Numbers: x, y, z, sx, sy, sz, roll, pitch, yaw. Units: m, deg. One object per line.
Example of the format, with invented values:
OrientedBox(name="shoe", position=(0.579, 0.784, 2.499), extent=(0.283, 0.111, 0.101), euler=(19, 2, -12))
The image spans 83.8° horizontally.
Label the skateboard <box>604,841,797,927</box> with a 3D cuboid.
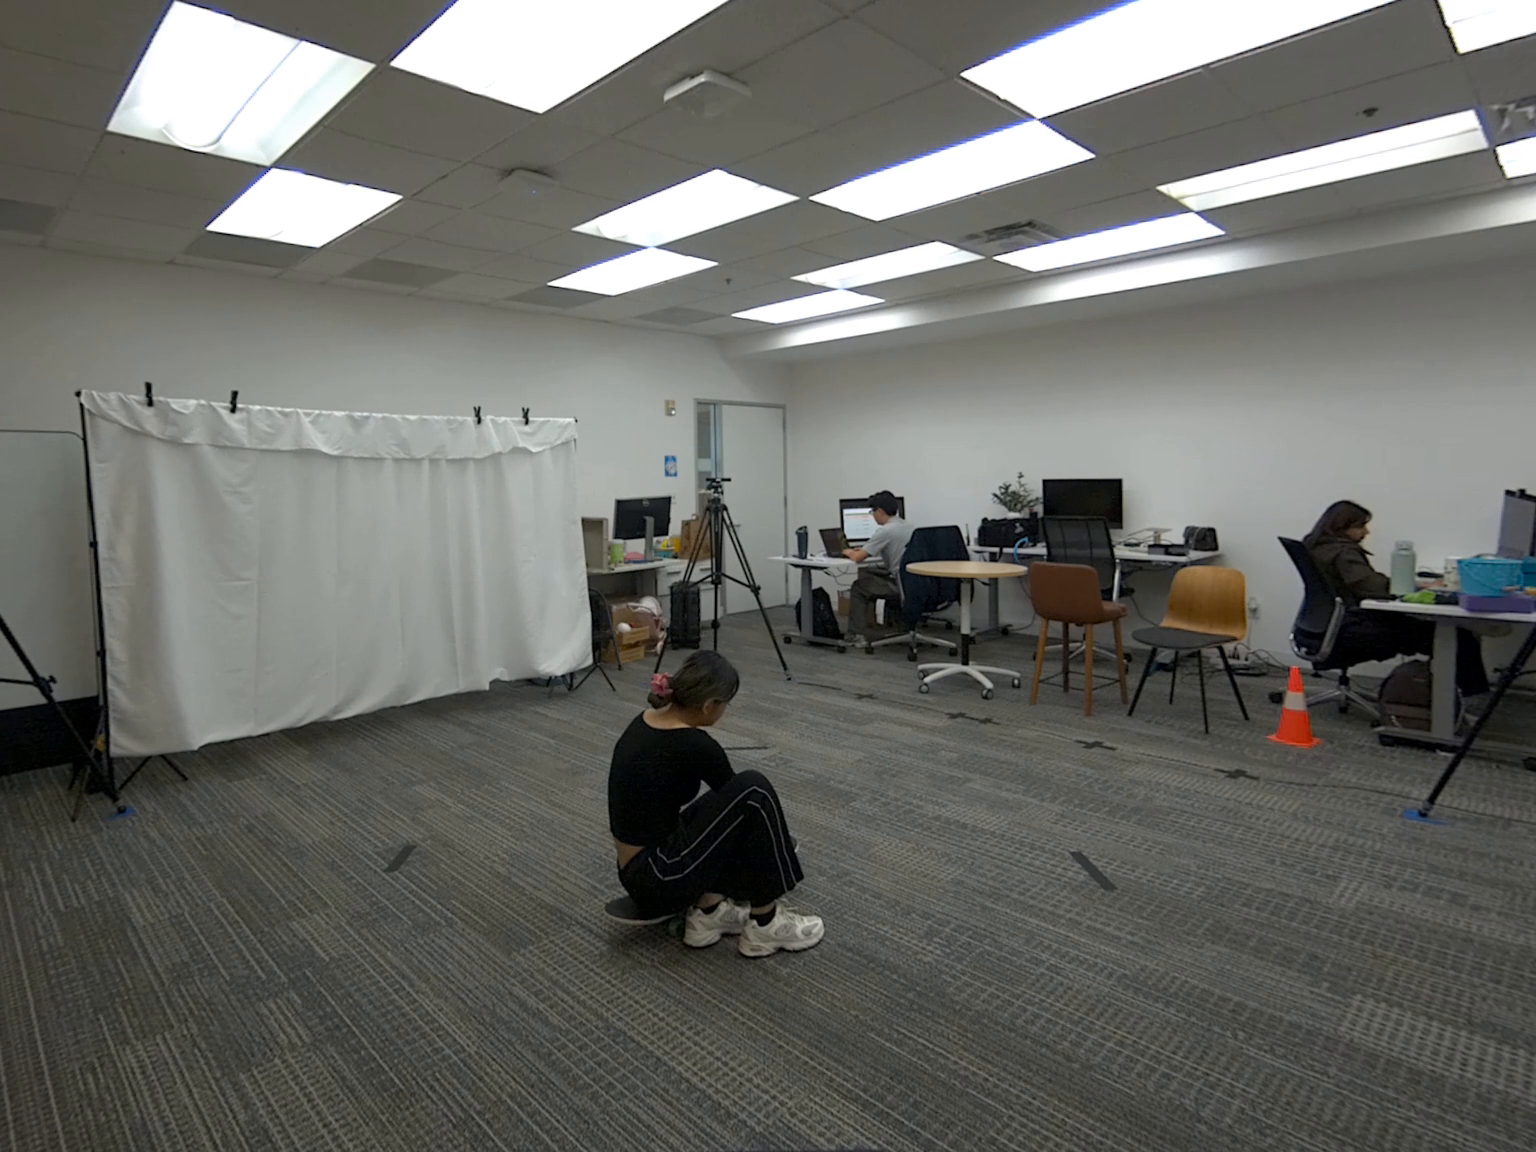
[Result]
OrientedBox(name="skateboard", position=(-0.187, 1.019, 2.813), extent=(0.765, 0.110, 0.199), euler=(-8, 6, -44))
